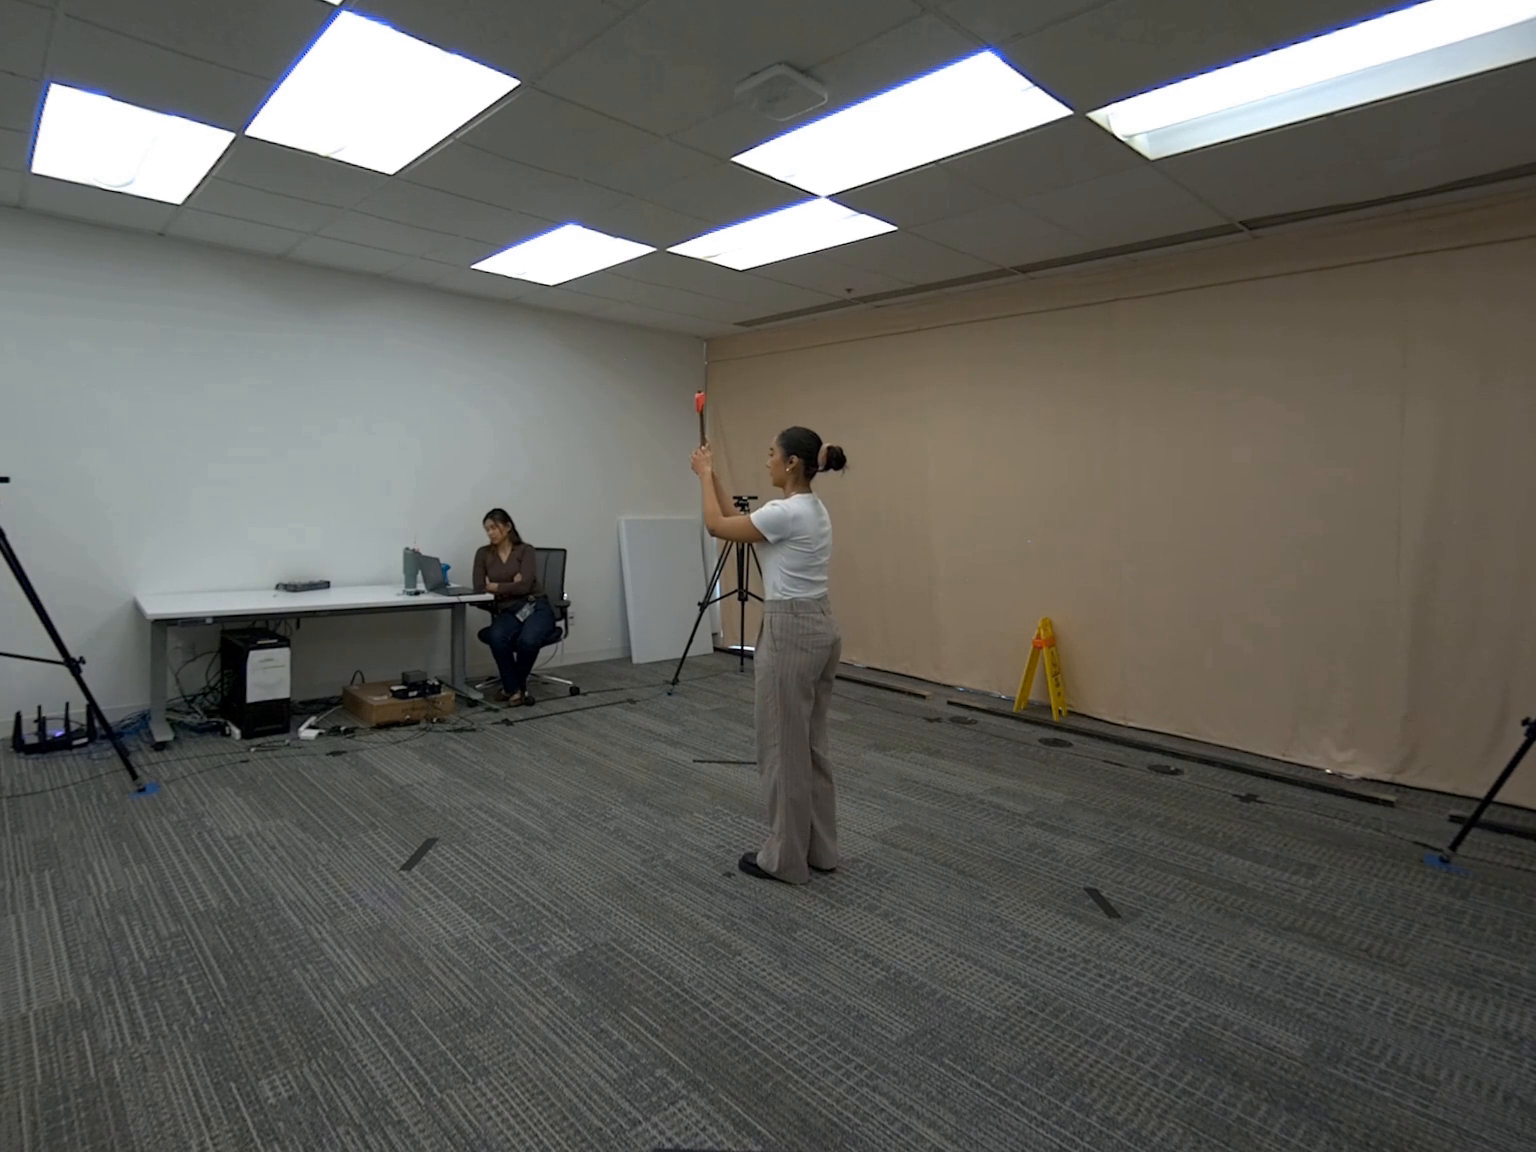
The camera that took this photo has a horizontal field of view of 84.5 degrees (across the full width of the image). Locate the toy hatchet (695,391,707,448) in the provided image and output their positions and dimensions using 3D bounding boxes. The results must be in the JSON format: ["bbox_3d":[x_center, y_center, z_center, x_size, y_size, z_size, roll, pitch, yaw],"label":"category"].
[{"bbox_3d":[-0.258,-0.581,3.217,0.030,0.271,0.129,-1,-6,6],"label":"toy hatchet"}]
